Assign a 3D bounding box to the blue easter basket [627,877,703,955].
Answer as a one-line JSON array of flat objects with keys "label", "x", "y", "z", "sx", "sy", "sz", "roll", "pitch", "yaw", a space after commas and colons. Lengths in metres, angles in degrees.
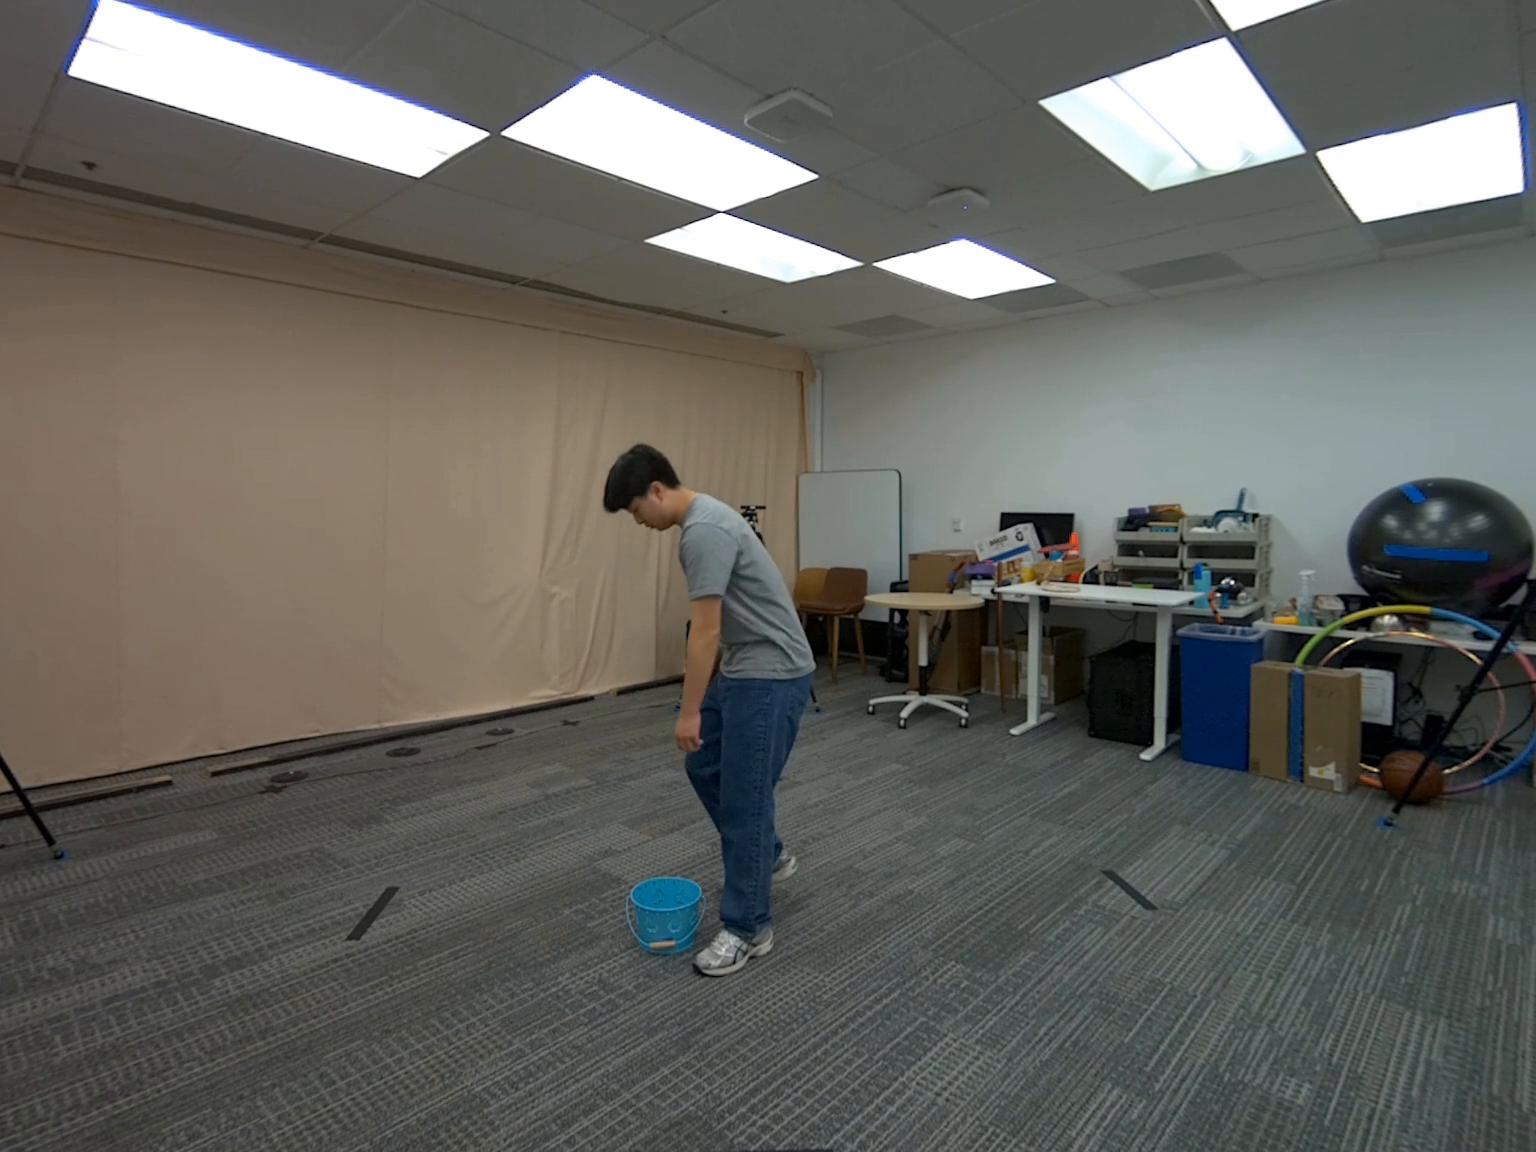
[{"label": "blue easter basket", "x": -0.330, "y": 1.094, "z": 2.698, "sx": 0.243, "sy": 0.155, "sz": 0.244, "roll": -1, "pitch": 4, "yaw": -2}]
